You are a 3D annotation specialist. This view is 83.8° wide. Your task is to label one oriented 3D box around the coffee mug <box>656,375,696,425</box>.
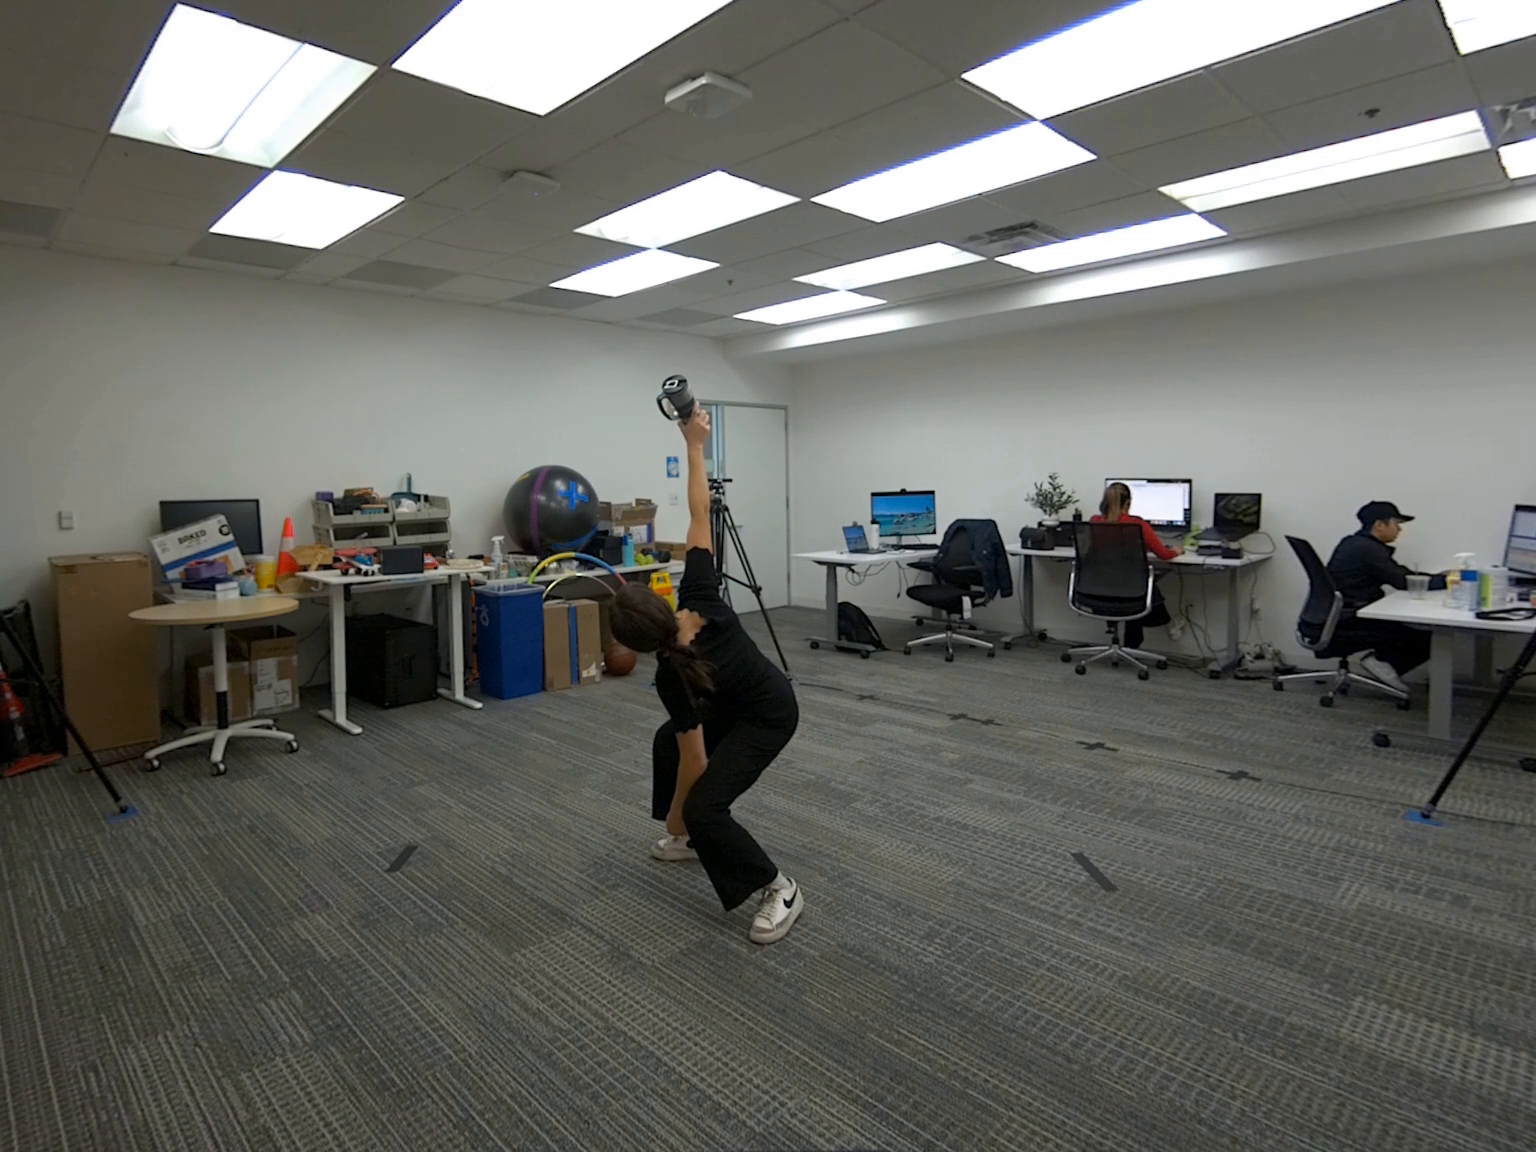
[{"bbox_3d":[-0.297,-0.567,2.865,0.122,0.091,0.196,-17,-43,5],"label":"coffee mug"}]
